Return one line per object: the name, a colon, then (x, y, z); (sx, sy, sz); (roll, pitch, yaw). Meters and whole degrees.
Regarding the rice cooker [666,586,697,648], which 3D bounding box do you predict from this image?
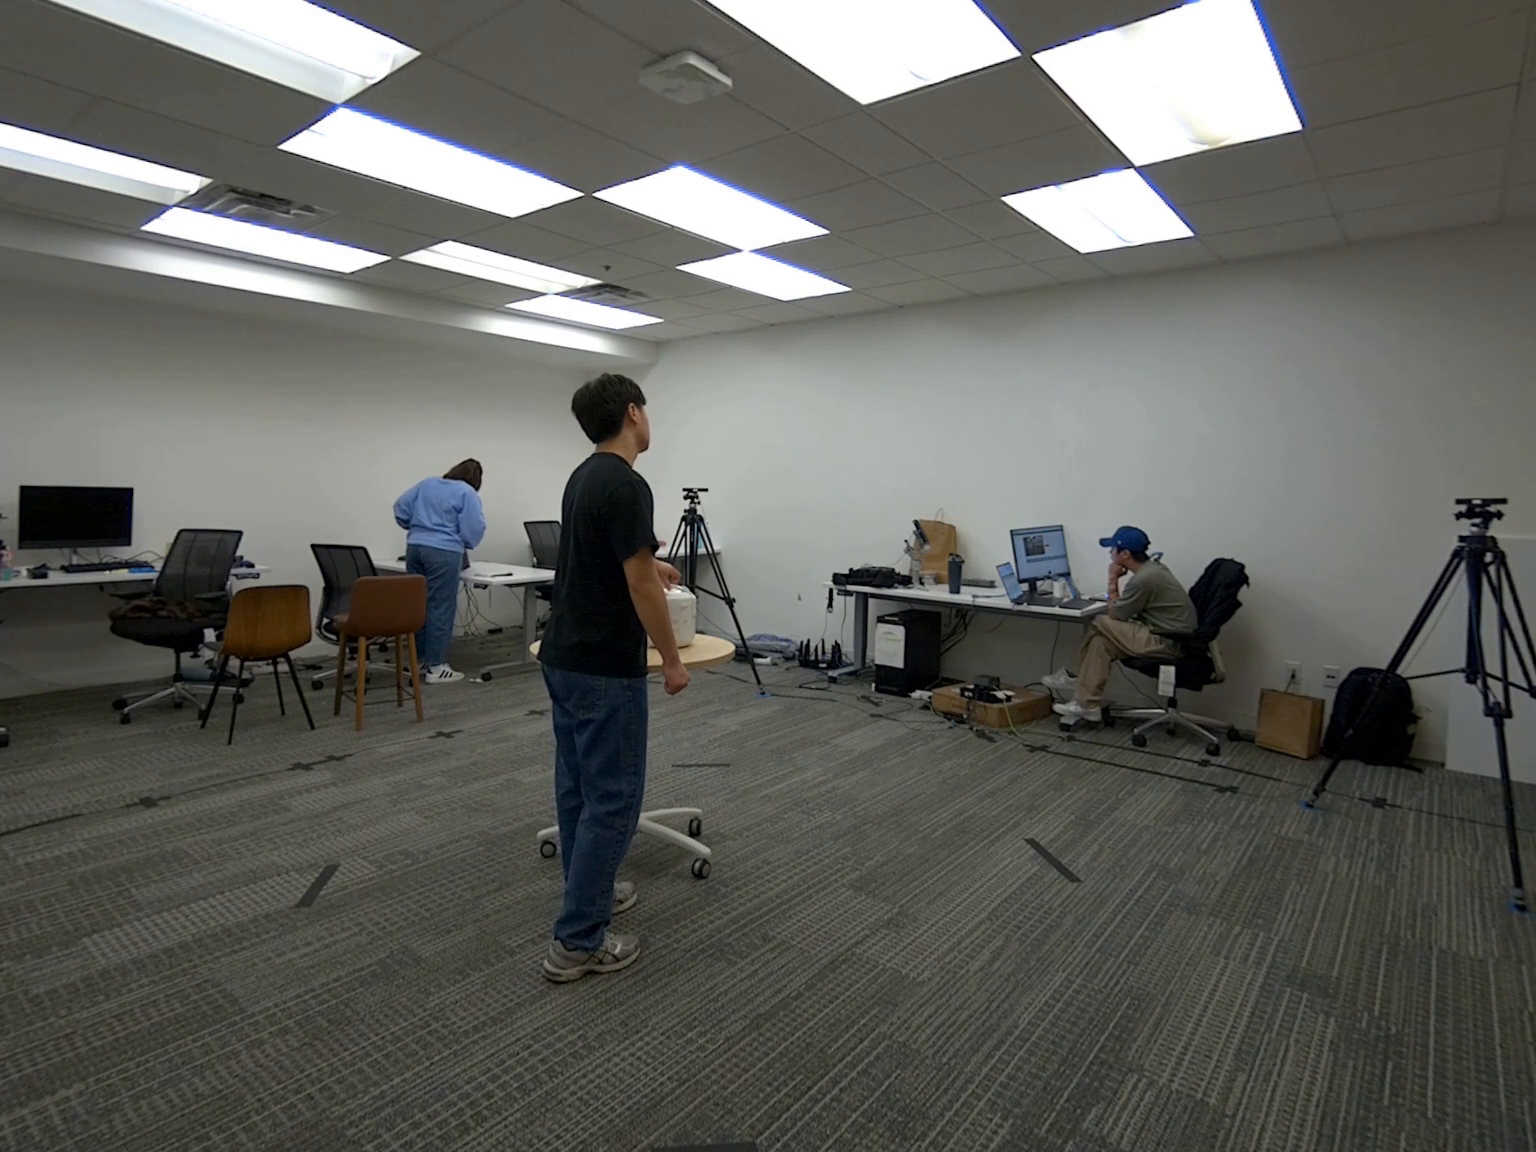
rice cooker: (-0.389, 0.145, 3.227); (0.224, 0.232, 0.215); (2, 4, 12)
